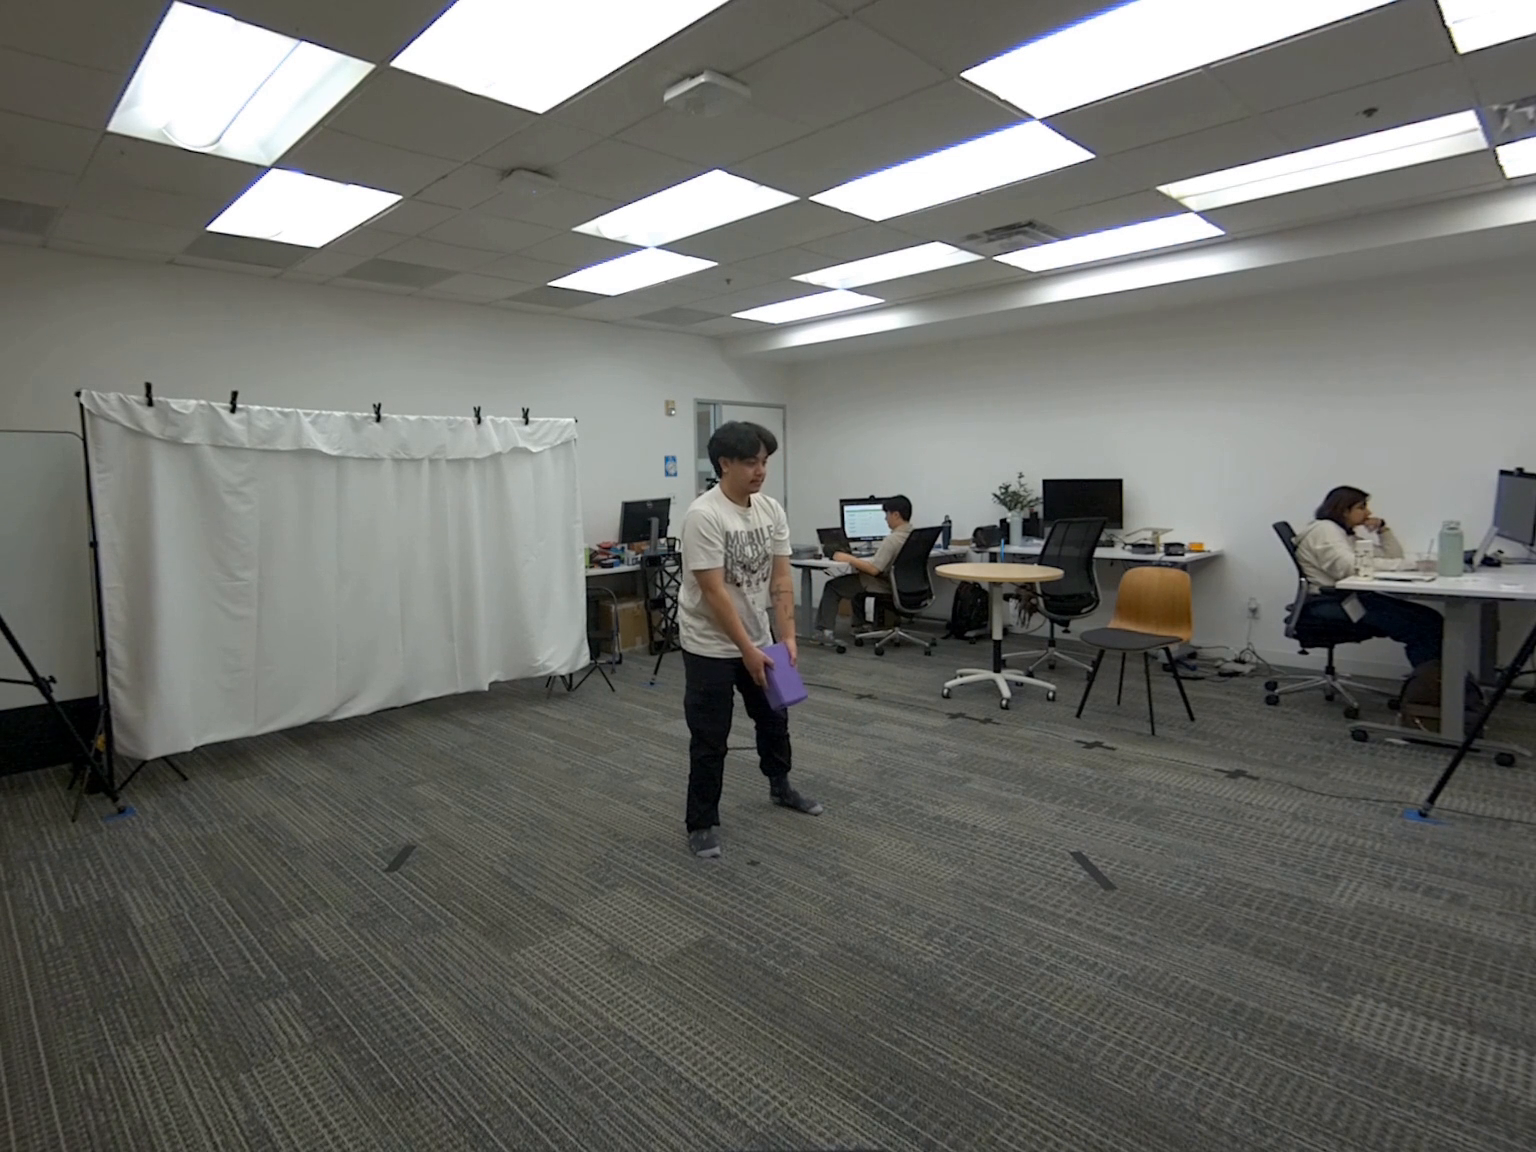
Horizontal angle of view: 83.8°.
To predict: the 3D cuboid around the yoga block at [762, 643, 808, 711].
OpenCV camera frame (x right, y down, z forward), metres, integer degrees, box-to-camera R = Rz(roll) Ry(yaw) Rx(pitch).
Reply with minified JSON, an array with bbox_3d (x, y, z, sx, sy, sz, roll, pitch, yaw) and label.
[{"bbox_3d":[0.040,0.377,3.215,0.145,0.234,0.077,-6,-26,-46],"label":"yoga block"}]
